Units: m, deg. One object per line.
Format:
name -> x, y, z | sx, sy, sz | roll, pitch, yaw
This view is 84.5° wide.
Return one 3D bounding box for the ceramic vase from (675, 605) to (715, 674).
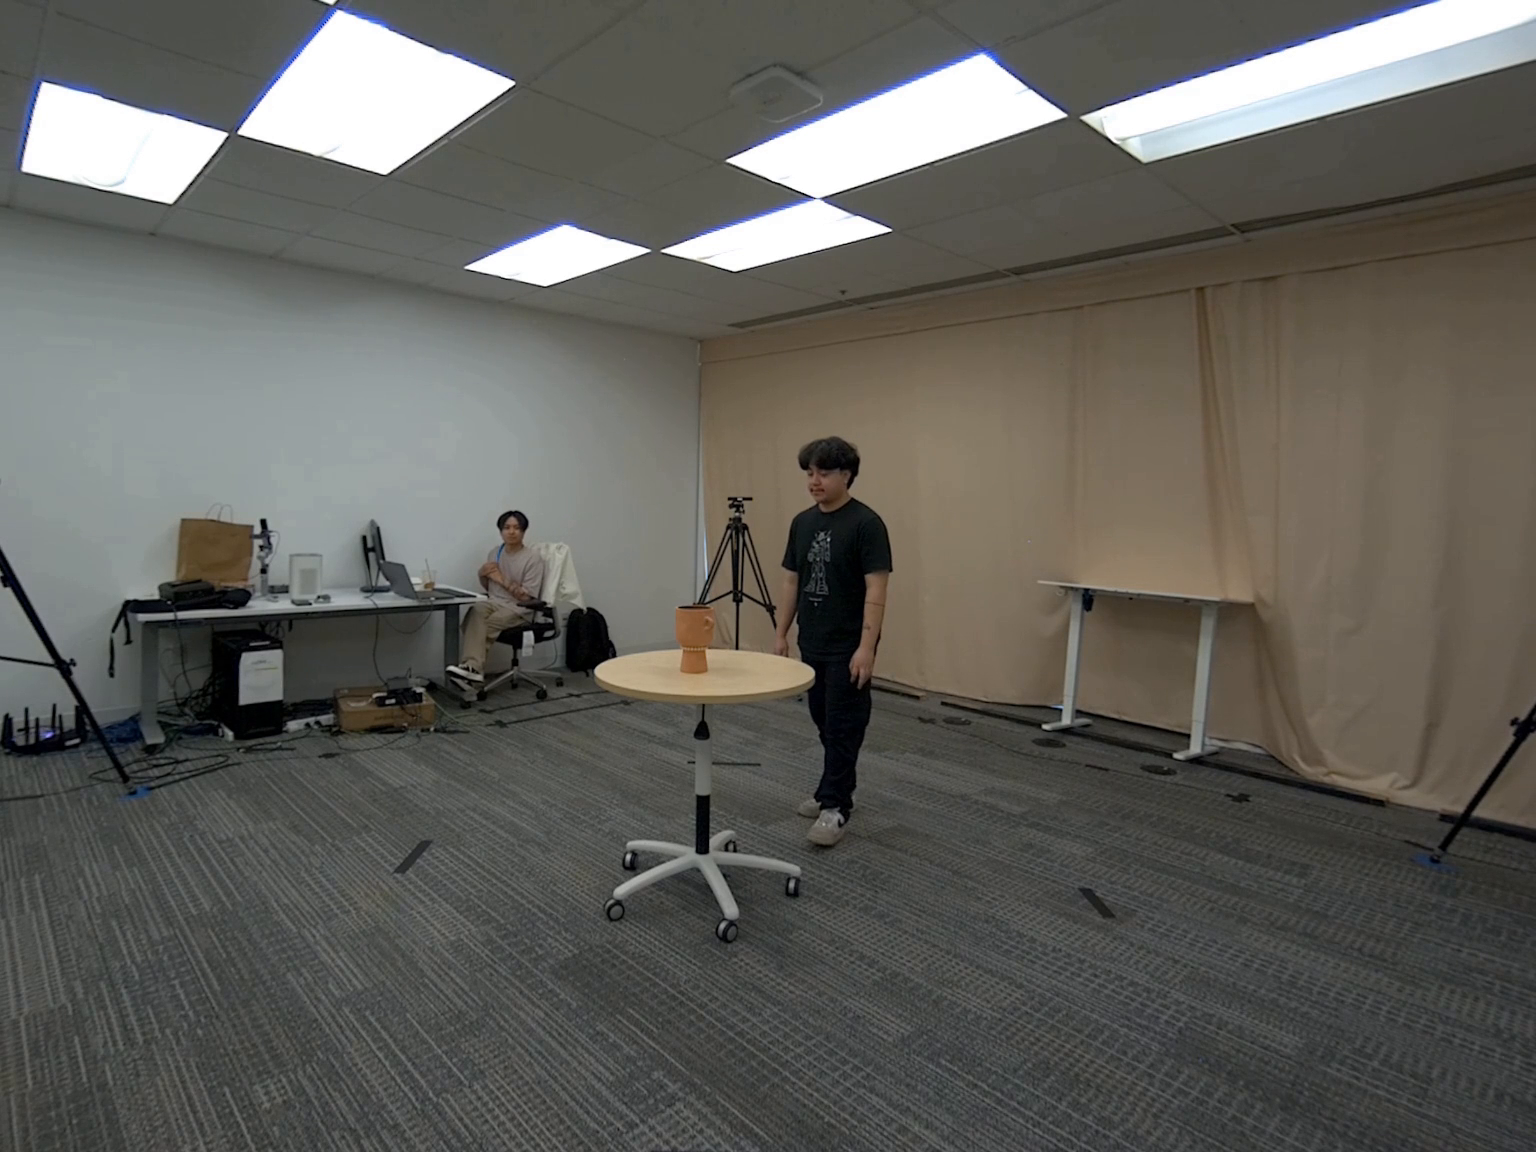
ceramic vase -> -0.264, 0.222, 2.908 | 0.134, 0.219, 0.160 | 1, 5, -6
